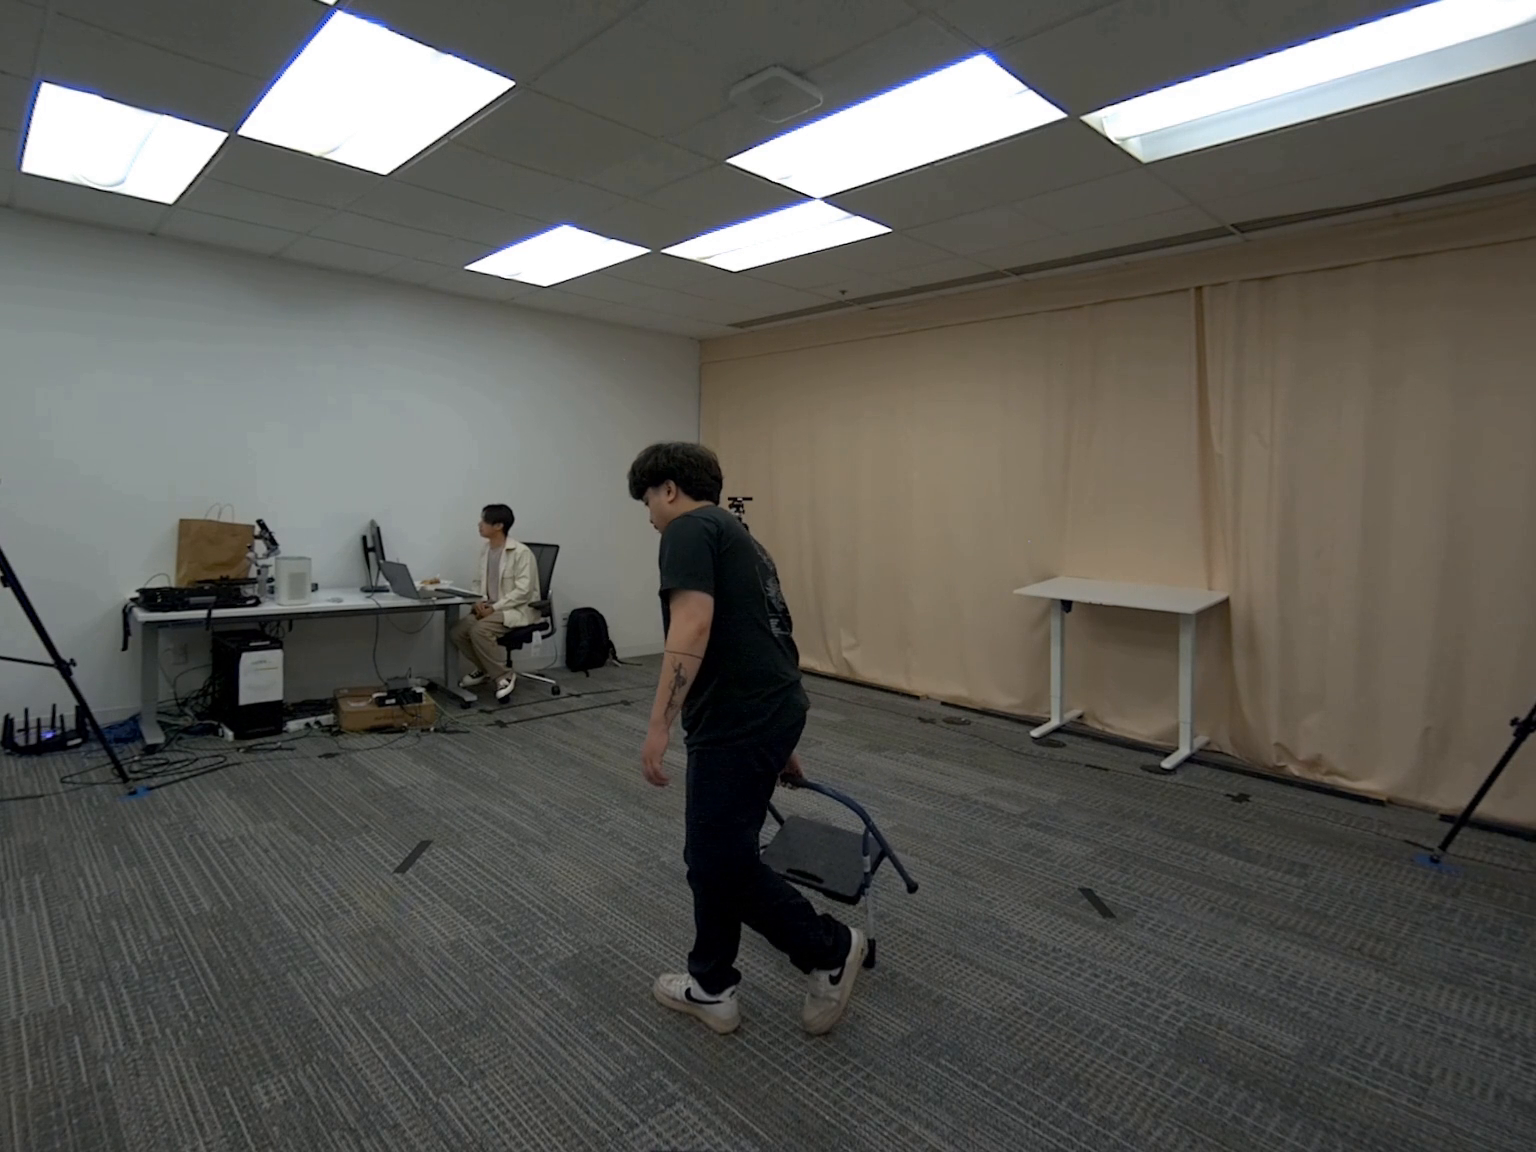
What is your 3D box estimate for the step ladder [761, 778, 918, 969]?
[{"bbox_3d":[0.163,0.819,2.633,0.441,0.594,0.348,4,30,34],"label":"step ladder"}]
